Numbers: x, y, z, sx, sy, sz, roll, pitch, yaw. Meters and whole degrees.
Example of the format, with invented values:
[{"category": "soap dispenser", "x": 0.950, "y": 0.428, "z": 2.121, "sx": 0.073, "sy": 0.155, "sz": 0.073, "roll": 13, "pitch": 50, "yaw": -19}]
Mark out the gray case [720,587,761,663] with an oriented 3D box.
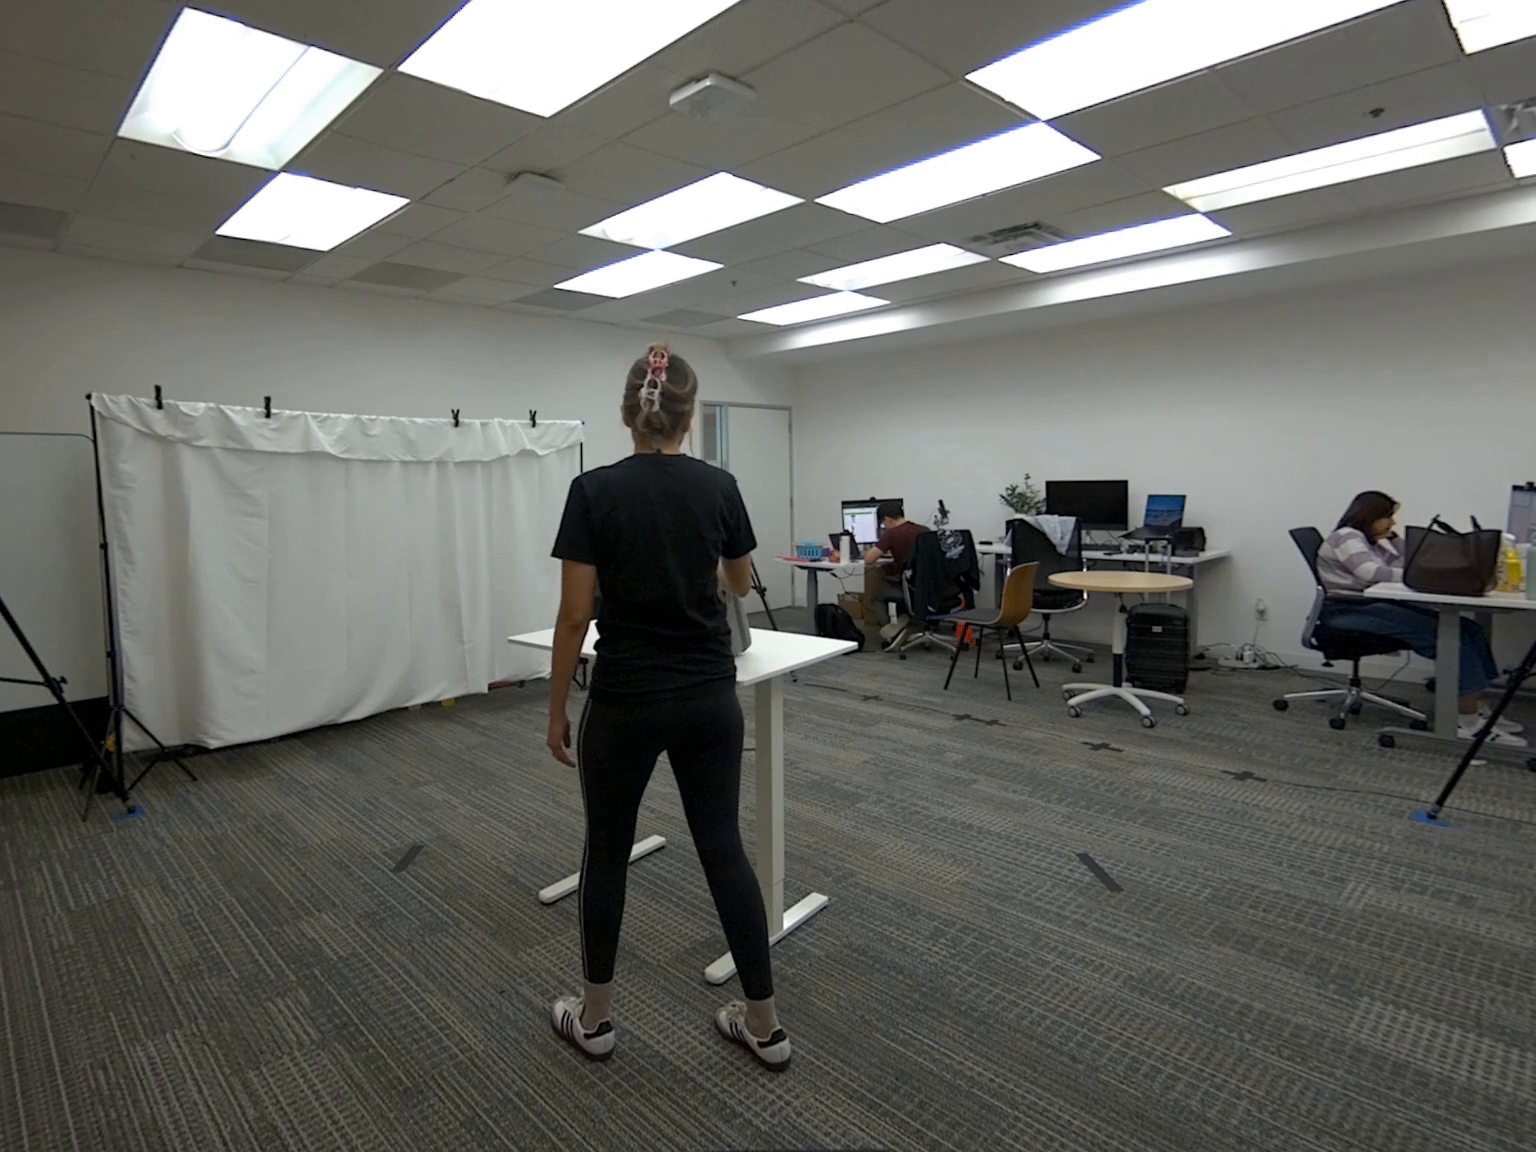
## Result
[{"category": "gray case", "x": -0.169, "y": 0.100, "z": 2.565, "sx": 0.102, "sy": 0.257, "sz": 0.265, "roll": -20, "pitch": 16, "yaw": -38}]
